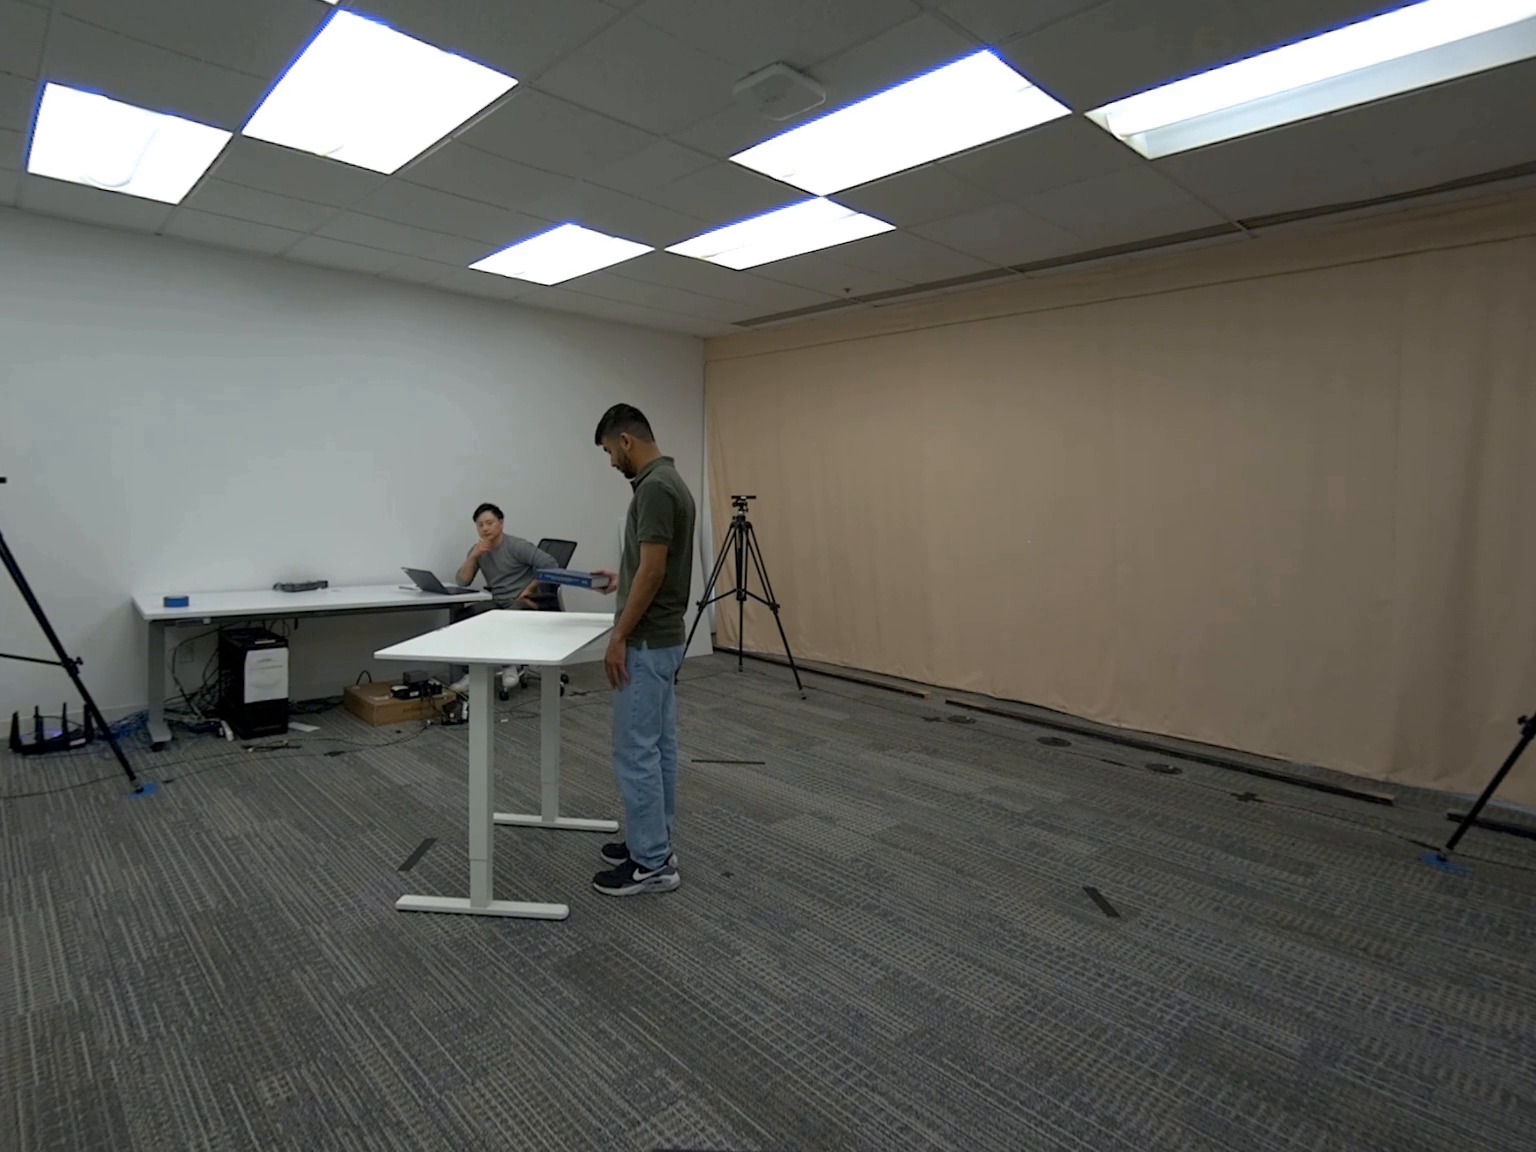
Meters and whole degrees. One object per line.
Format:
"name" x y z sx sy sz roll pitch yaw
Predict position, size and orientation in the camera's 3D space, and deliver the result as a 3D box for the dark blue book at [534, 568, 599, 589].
"dark blue book" -0.783 0.011 3.302 0.247 0.045 0.162 5 4 9
